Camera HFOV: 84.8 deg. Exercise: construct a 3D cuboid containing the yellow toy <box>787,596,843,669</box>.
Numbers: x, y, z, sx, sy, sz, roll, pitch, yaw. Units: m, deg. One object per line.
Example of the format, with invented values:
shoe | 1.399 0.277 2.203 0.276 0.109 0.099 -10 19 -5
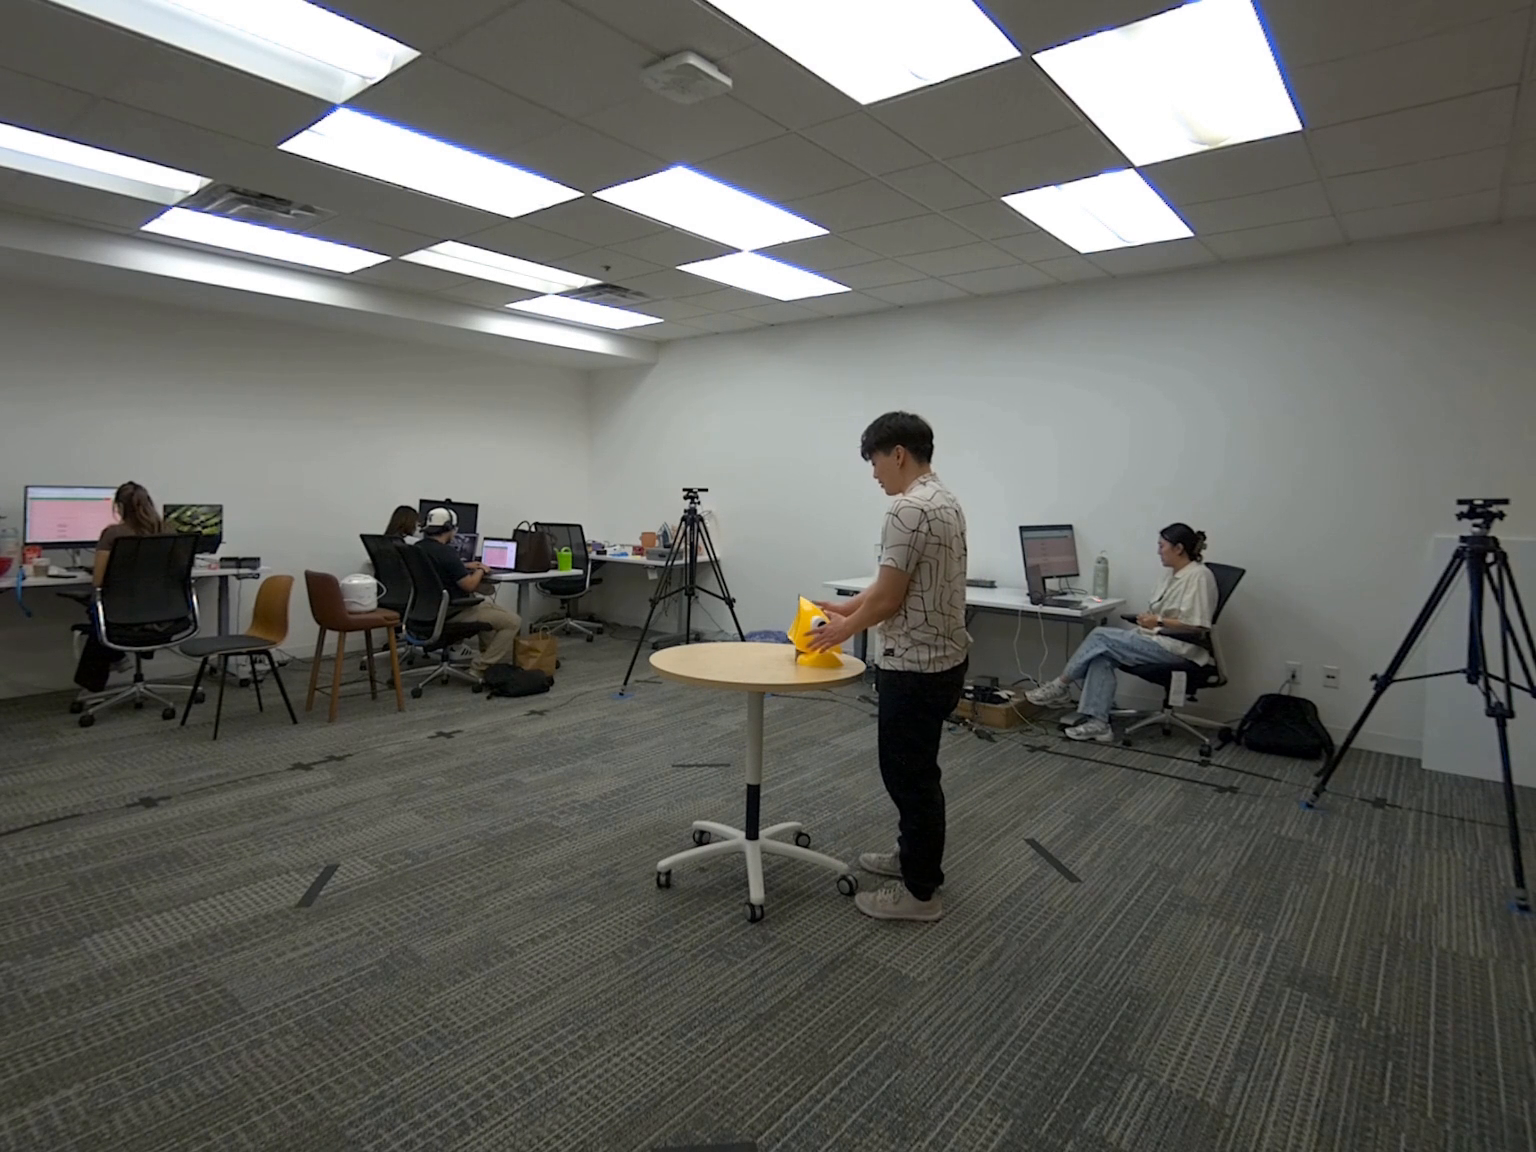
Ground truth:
yellow toy | 0.163 0.188 3.047 0.192 0.230 0.207 0 4 -6
